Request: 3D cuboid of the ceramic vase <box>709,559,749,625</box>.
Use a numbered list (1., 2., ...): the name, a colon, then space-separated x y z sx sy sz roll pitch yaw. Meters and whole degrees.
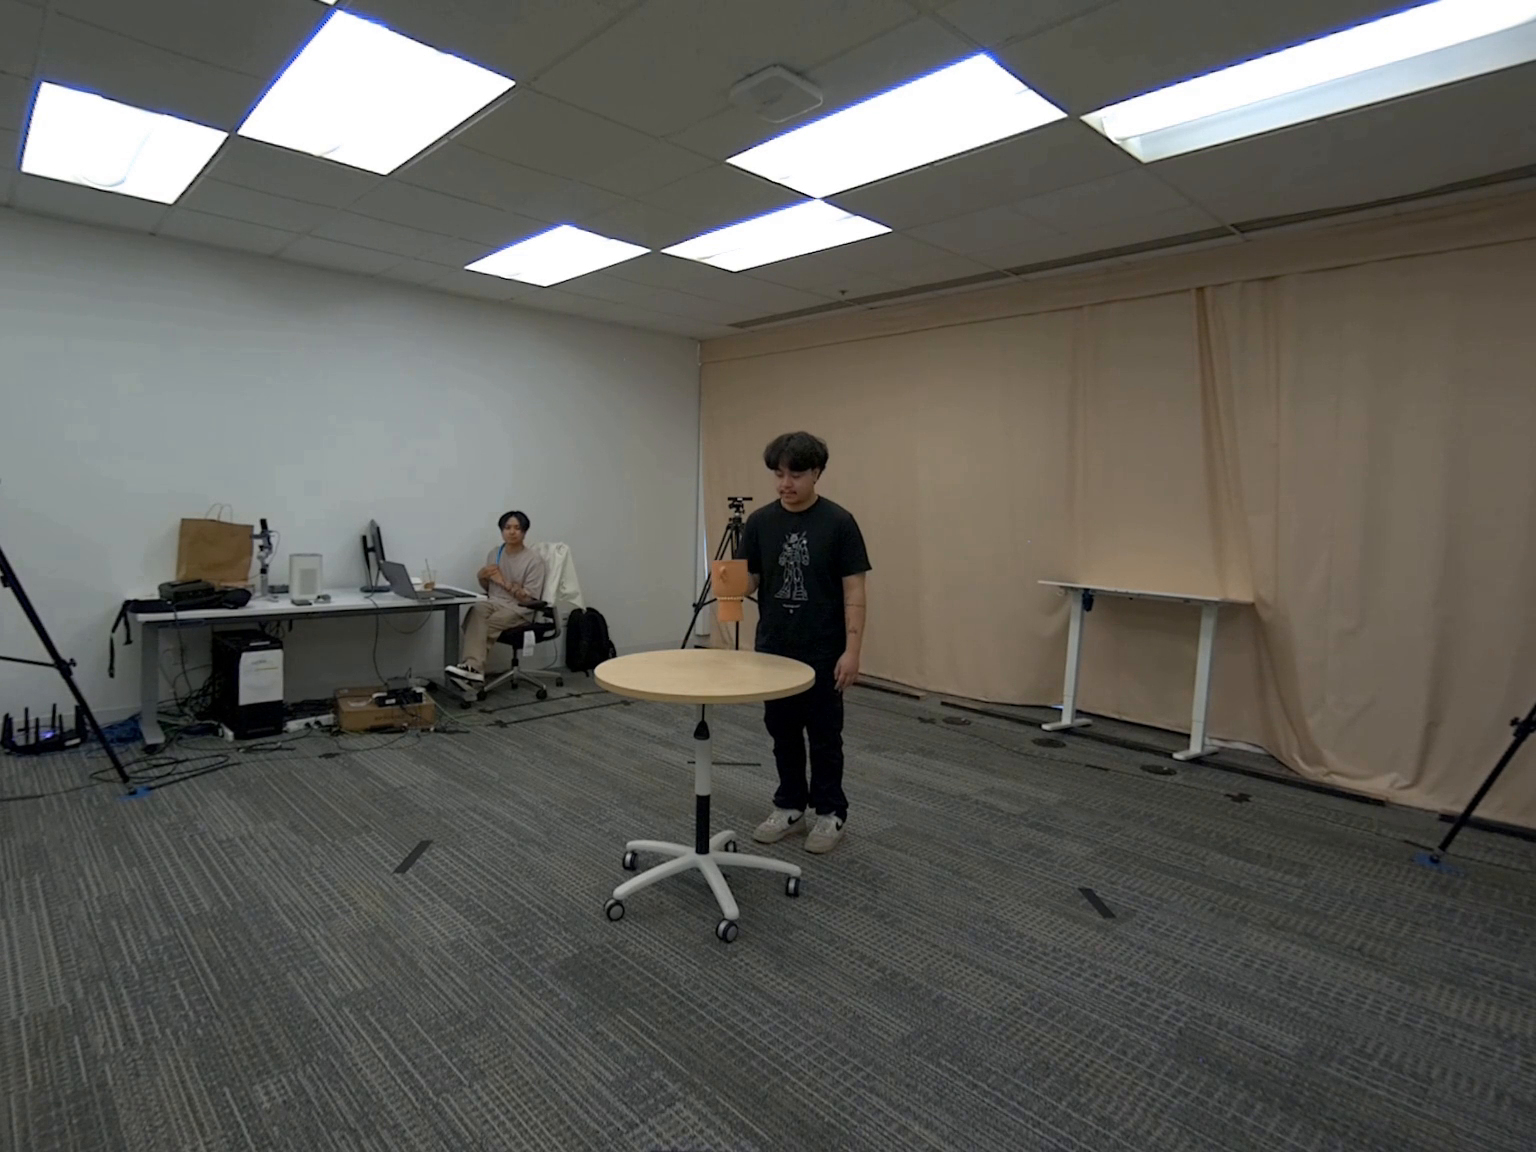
1. ceramic vase: -0.151 0.057 3.064 0.155 0.220 0.138 -2 0 -39
